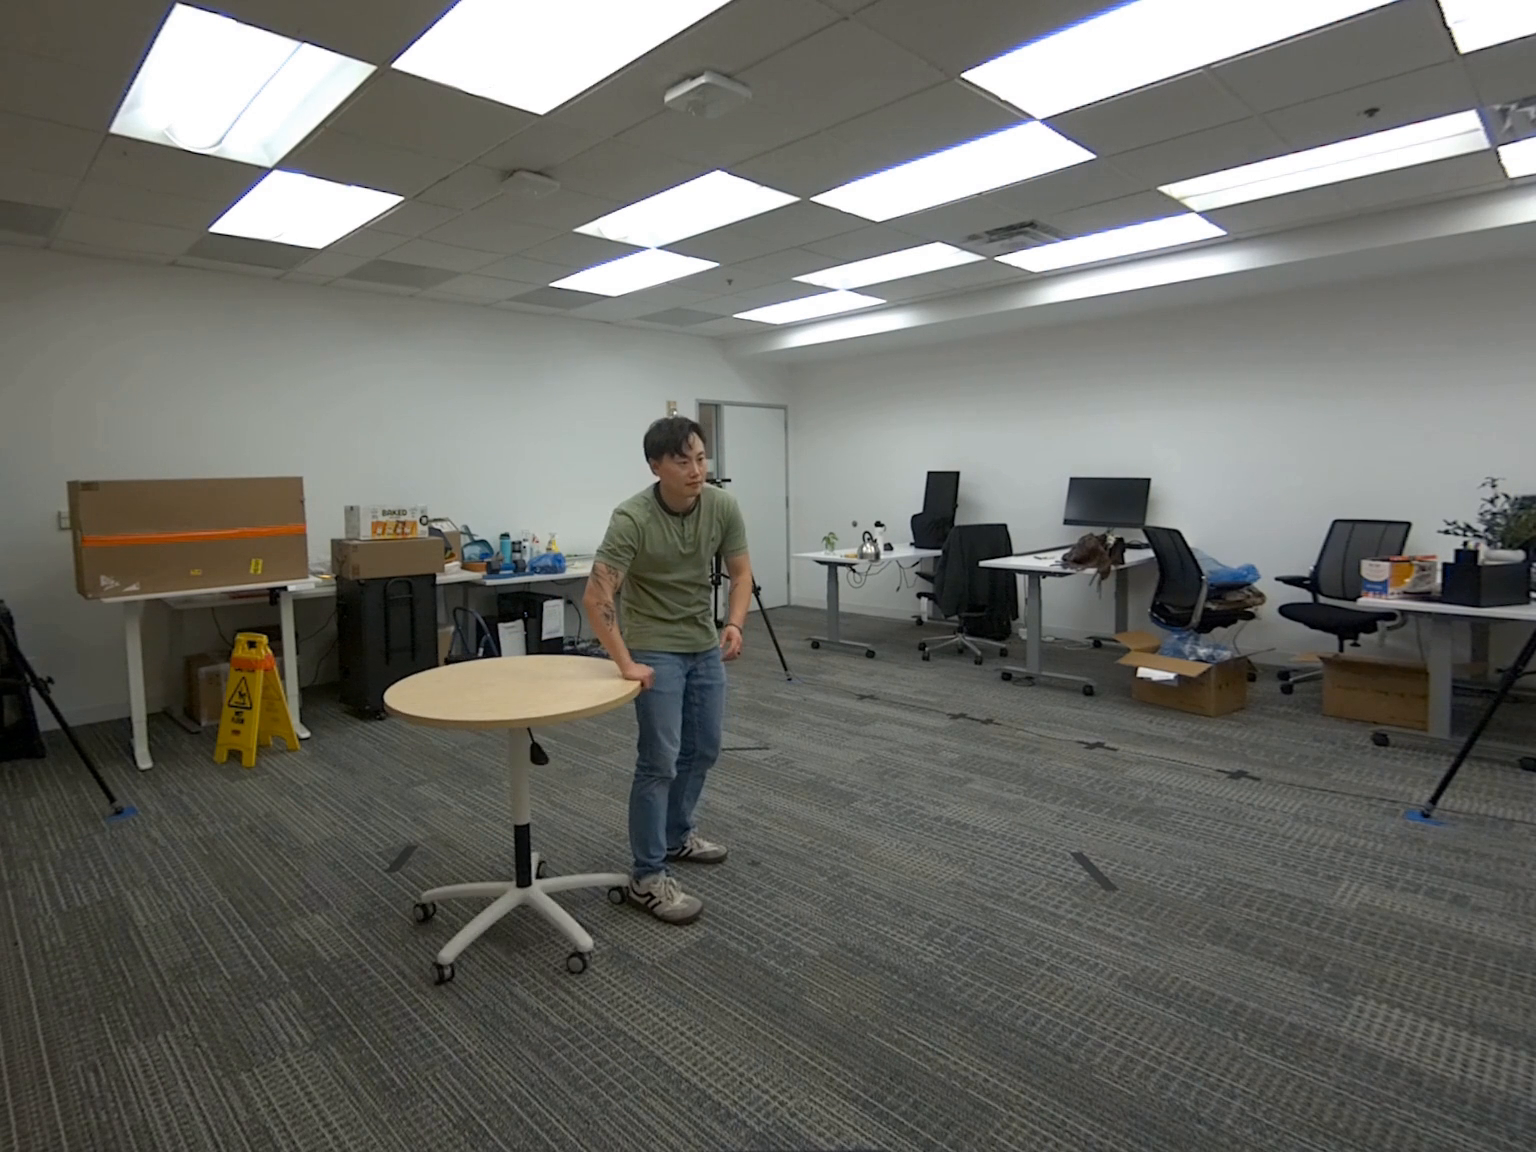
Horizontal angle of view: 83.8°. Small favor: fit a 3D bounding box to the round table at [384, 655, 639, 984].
[{"bbox_3d":[-0.755,0.721,2.660,0.763,0.790,0.769,-1,6,-2],"label":"round table"}]
